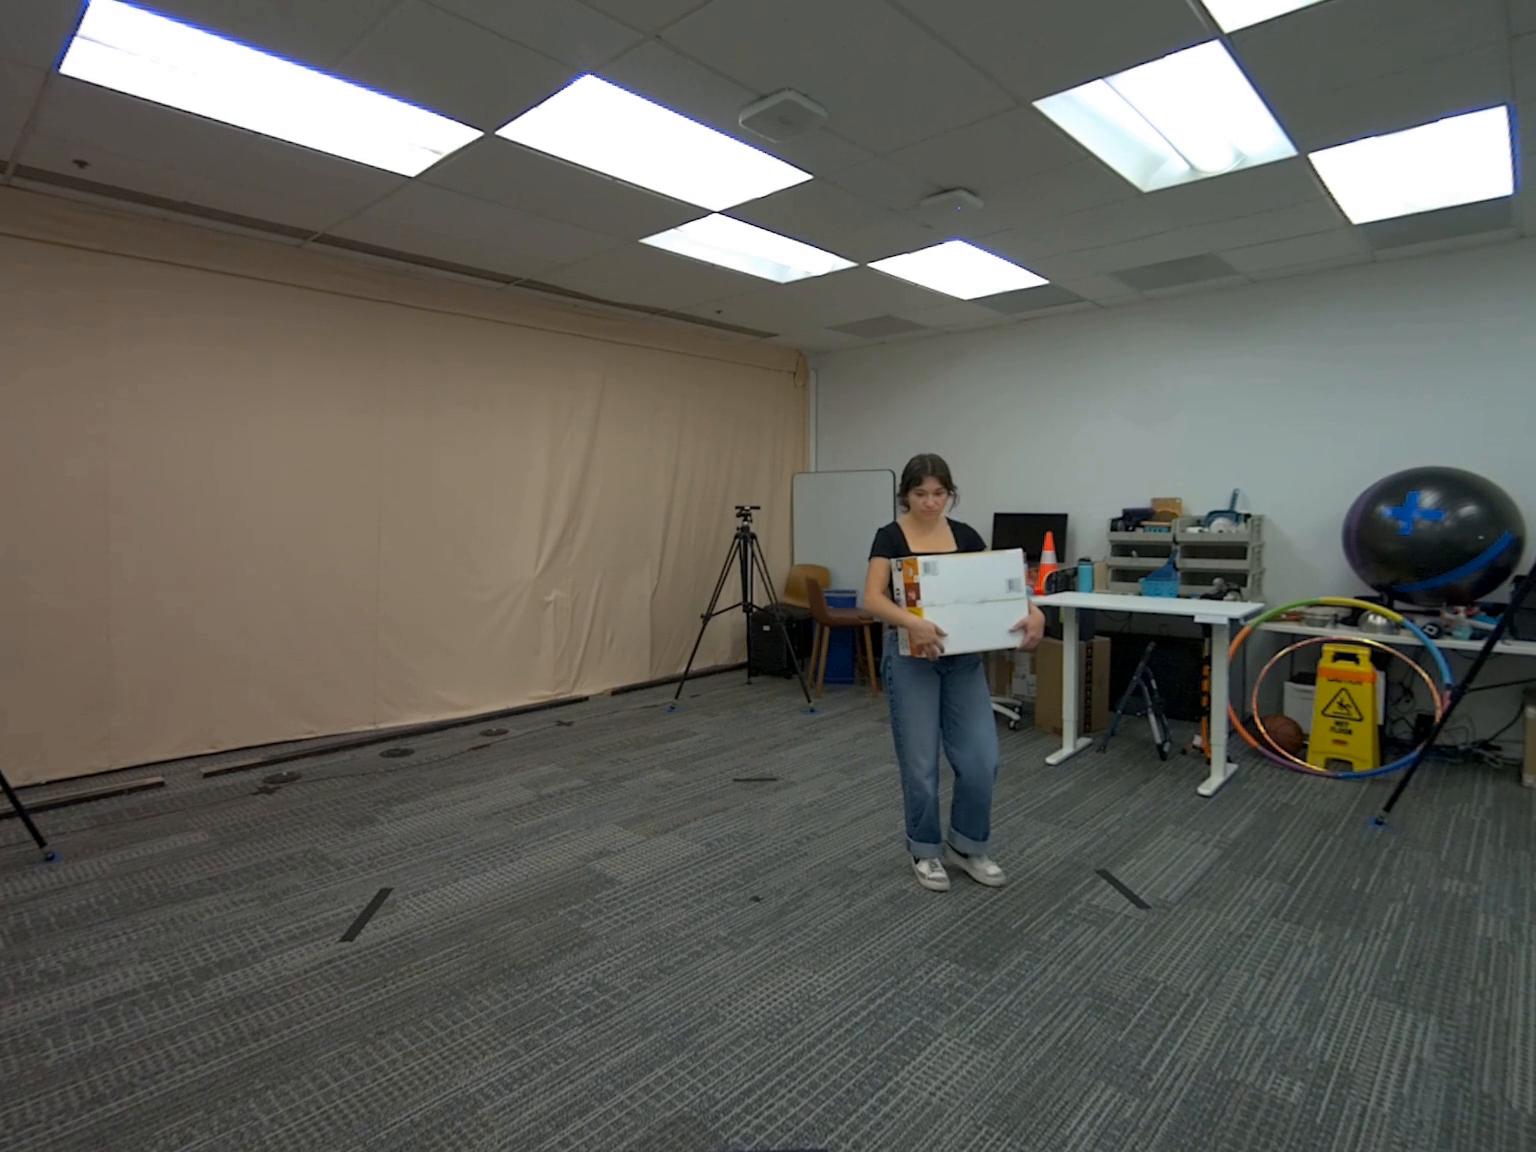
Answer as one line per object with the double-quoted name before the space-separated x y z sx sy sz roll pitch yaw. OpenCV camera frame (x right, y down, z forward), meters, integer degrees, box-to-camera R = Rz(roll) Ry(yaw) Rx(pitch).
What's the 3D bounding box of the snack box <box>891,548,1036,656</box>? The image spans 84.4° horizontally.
"snack box" 0.672 0.090 2.944 0.399 0.341 0.208 -5 -2 -14
